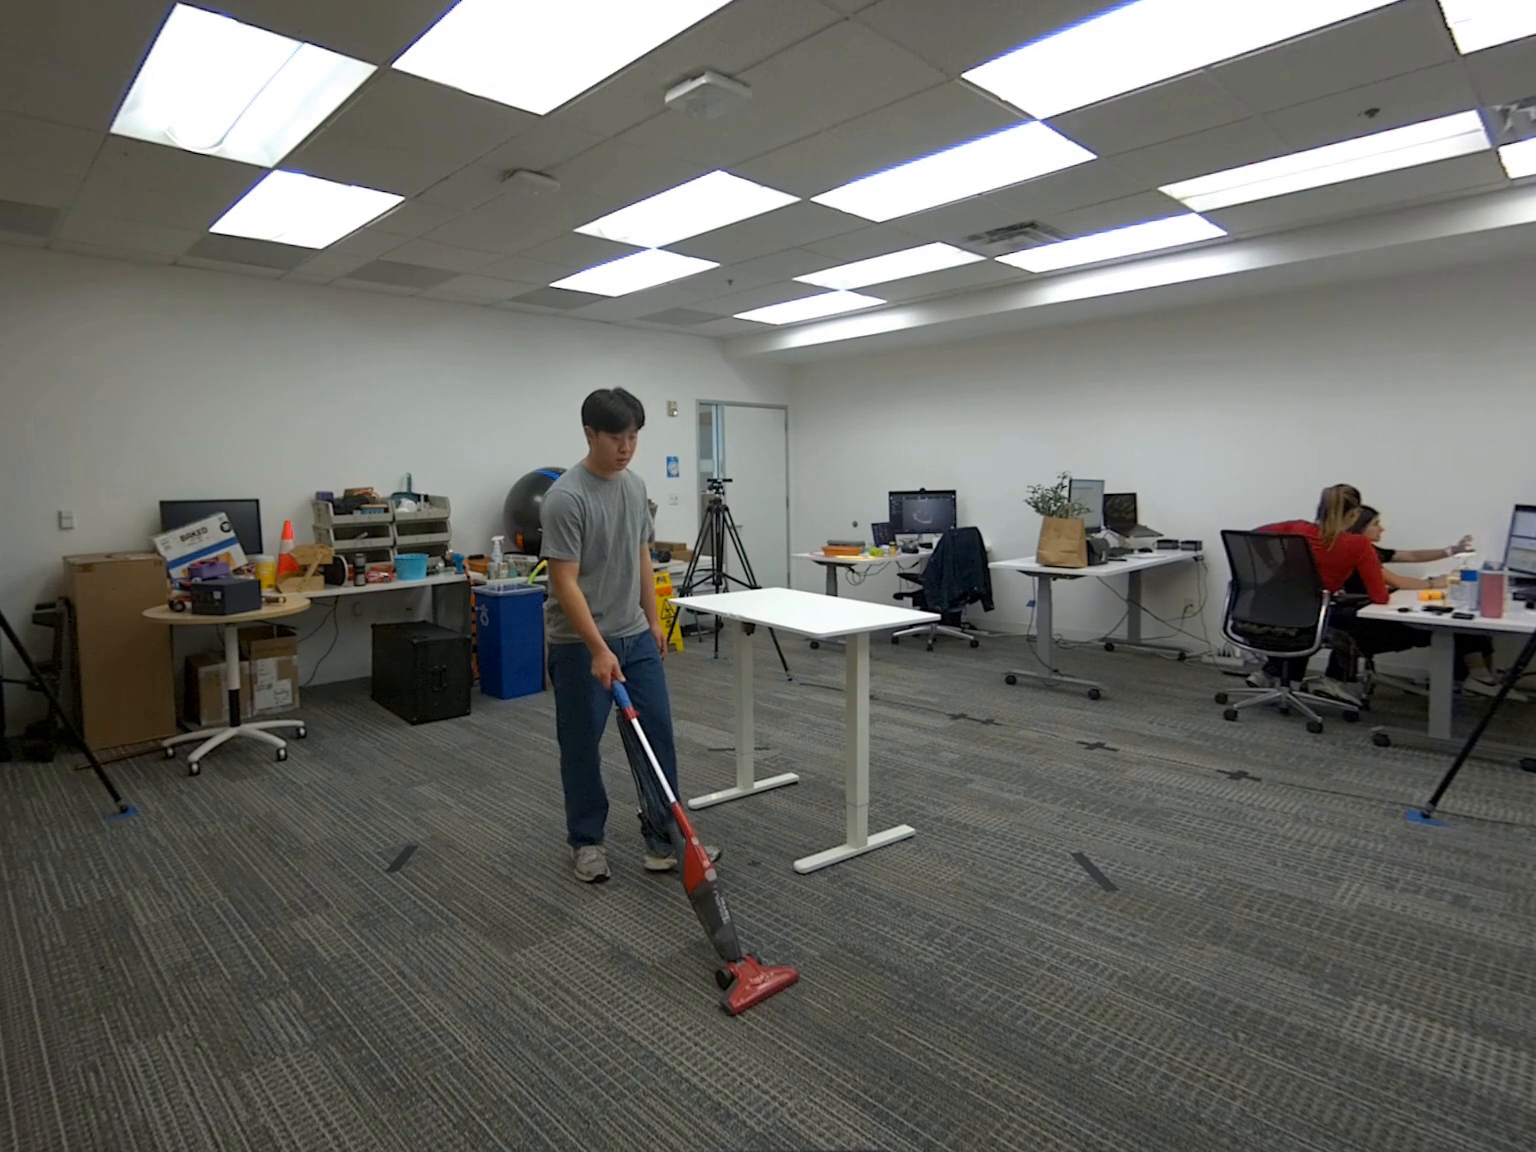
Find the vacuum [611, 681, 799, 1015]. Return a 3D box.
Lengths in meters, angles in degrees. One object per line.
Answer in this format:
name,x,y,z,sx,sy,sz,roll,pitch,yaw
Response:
vacuum,-0.284,0.726,2.596,0.245,1.085,0.143,-2,-41,-41
